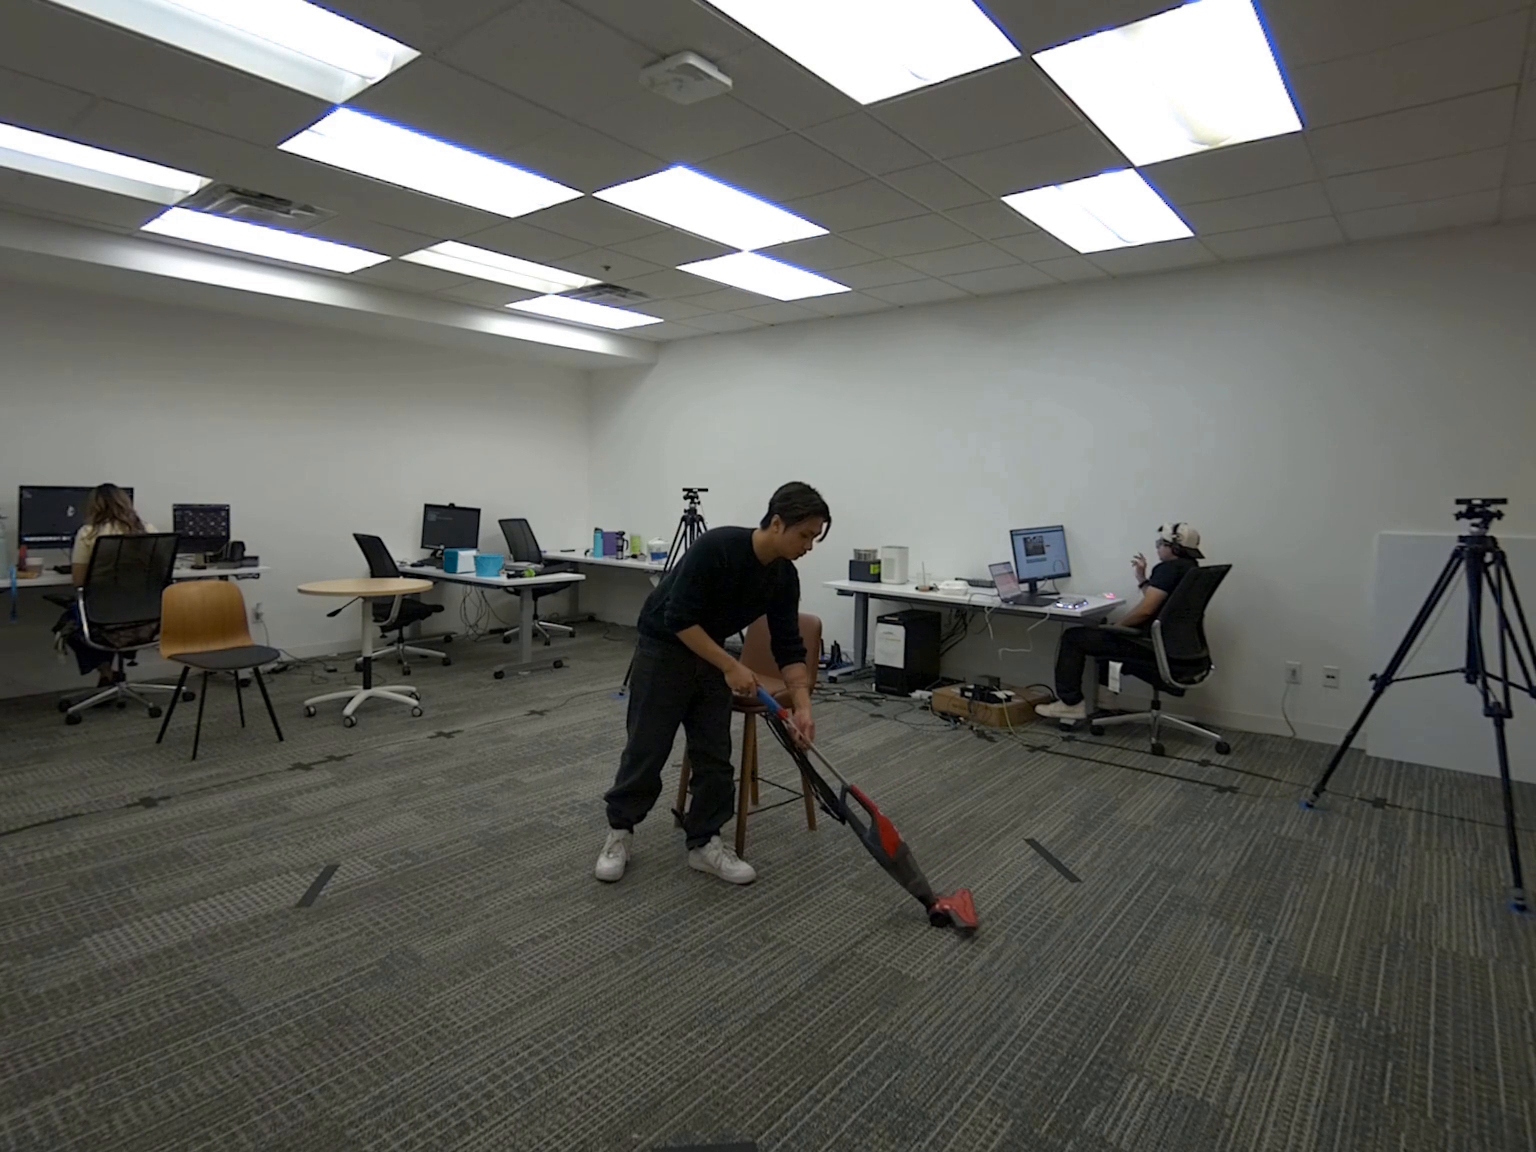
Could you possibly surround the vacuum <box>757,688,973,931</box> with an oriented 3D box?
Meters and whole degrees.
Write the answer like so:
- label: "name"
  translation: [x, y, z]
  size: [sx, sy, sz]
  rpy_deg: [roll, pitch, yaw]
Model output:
- label: "vacuum"
  translation: [0.229, 0.719, 2.847]
  size: [1.059, 0.144, 0.250]
  rpy_deg: [46, 15, 6]
